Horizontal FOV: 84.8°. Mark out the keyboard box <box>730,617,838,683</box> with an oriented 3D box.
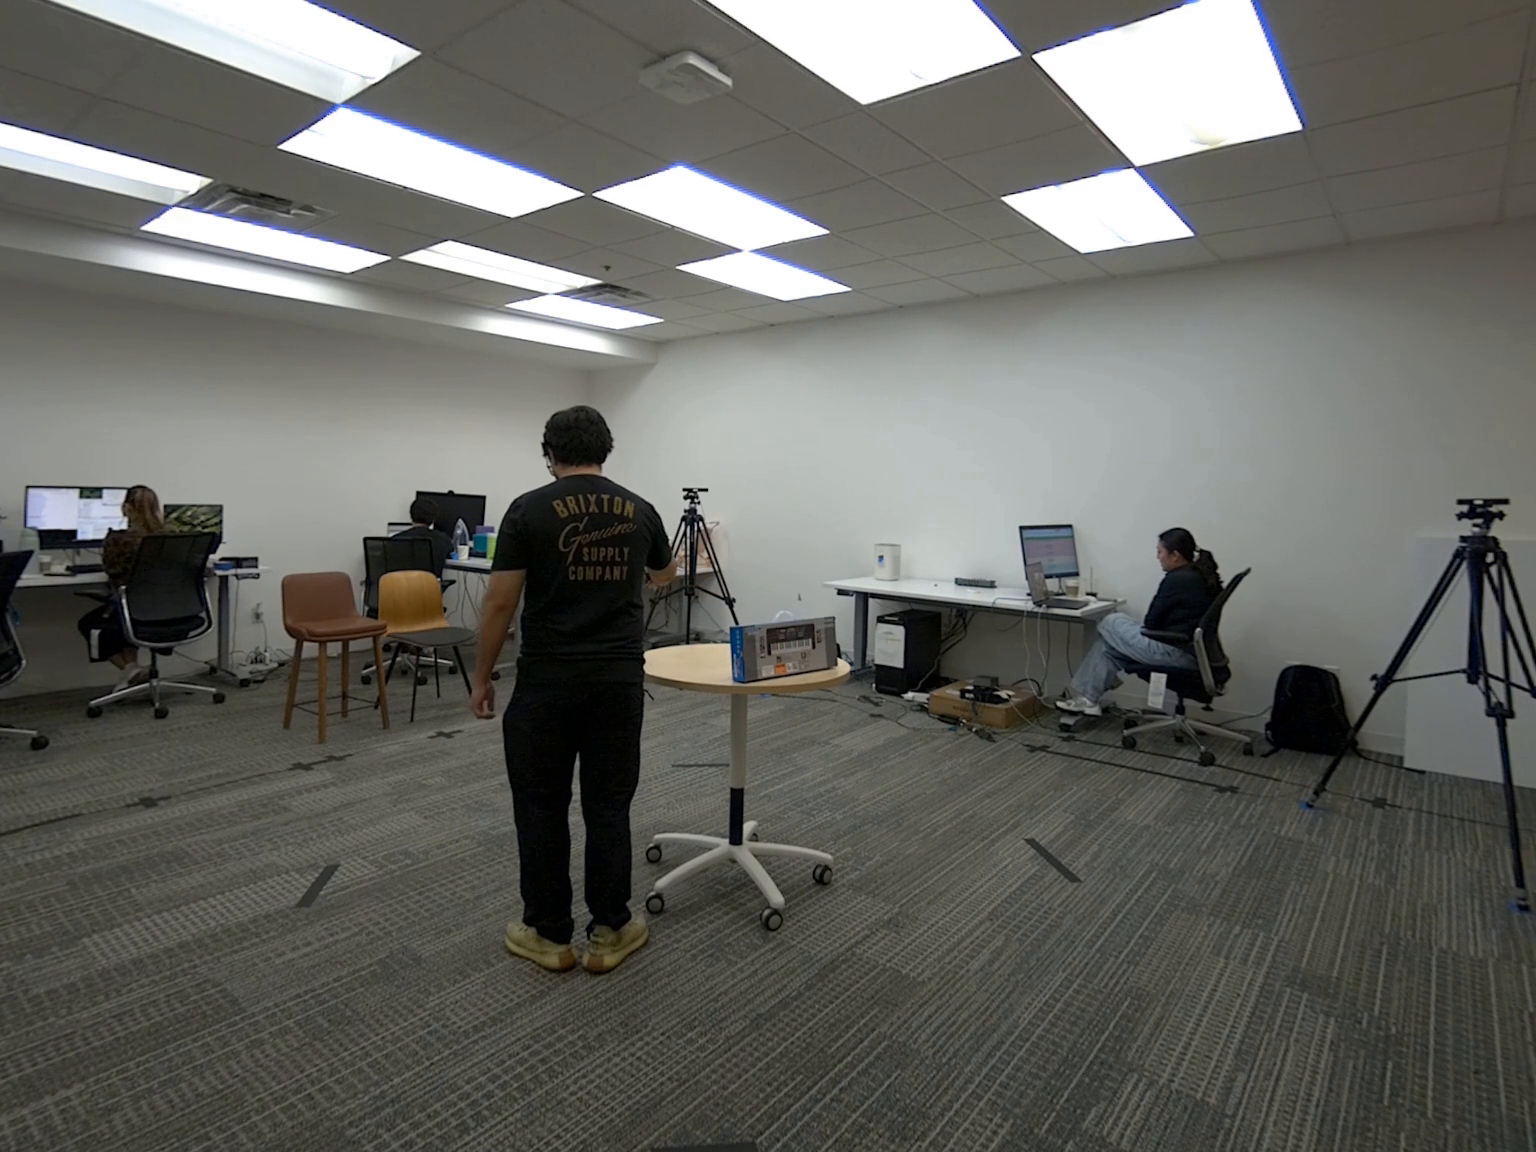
[{"bbox_3d":[0.049,0.233,2.788,0.423,0.176,0.061,-3,-2,-42],"label":"keyboard box"}]
